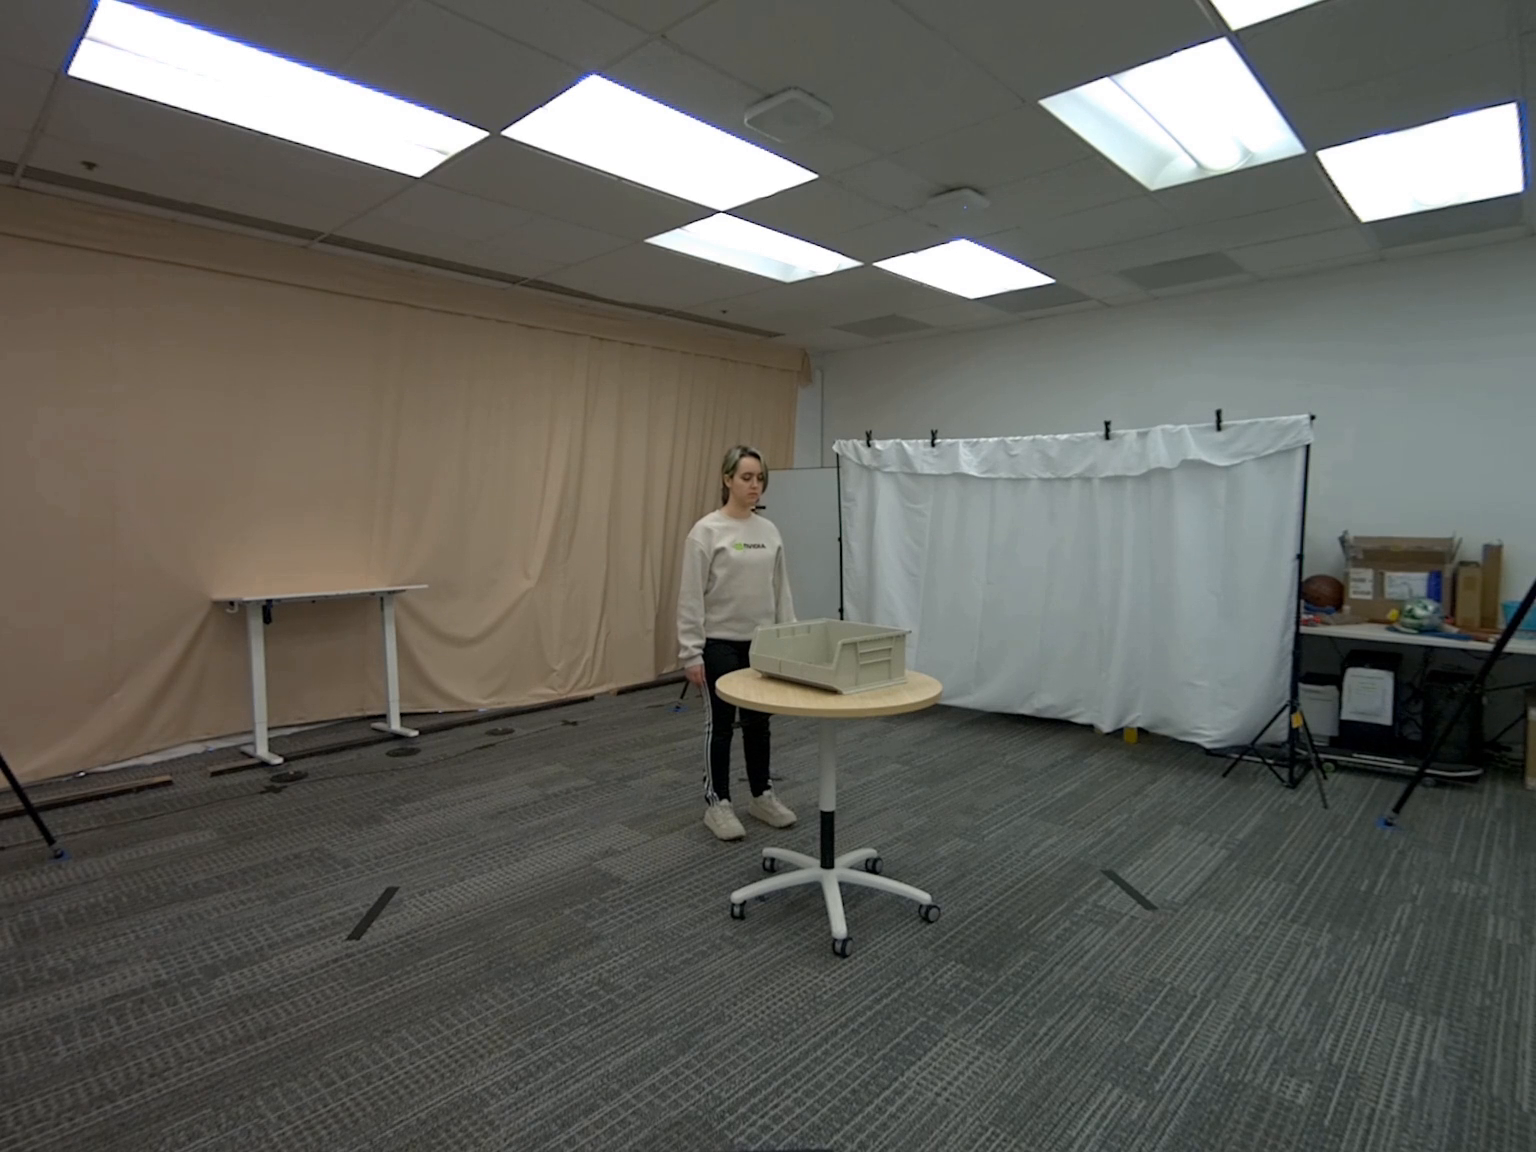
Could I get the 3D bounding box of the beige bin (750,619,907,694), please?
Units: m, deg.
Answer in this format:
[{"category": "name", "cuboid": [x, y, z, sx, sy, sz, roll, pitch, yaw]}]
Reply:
[{"category": "beige bin", "cuboid": [0.215, 0.275, 2.927, 0.366, 0.188, 0.436, -3, 4, -39]}]
